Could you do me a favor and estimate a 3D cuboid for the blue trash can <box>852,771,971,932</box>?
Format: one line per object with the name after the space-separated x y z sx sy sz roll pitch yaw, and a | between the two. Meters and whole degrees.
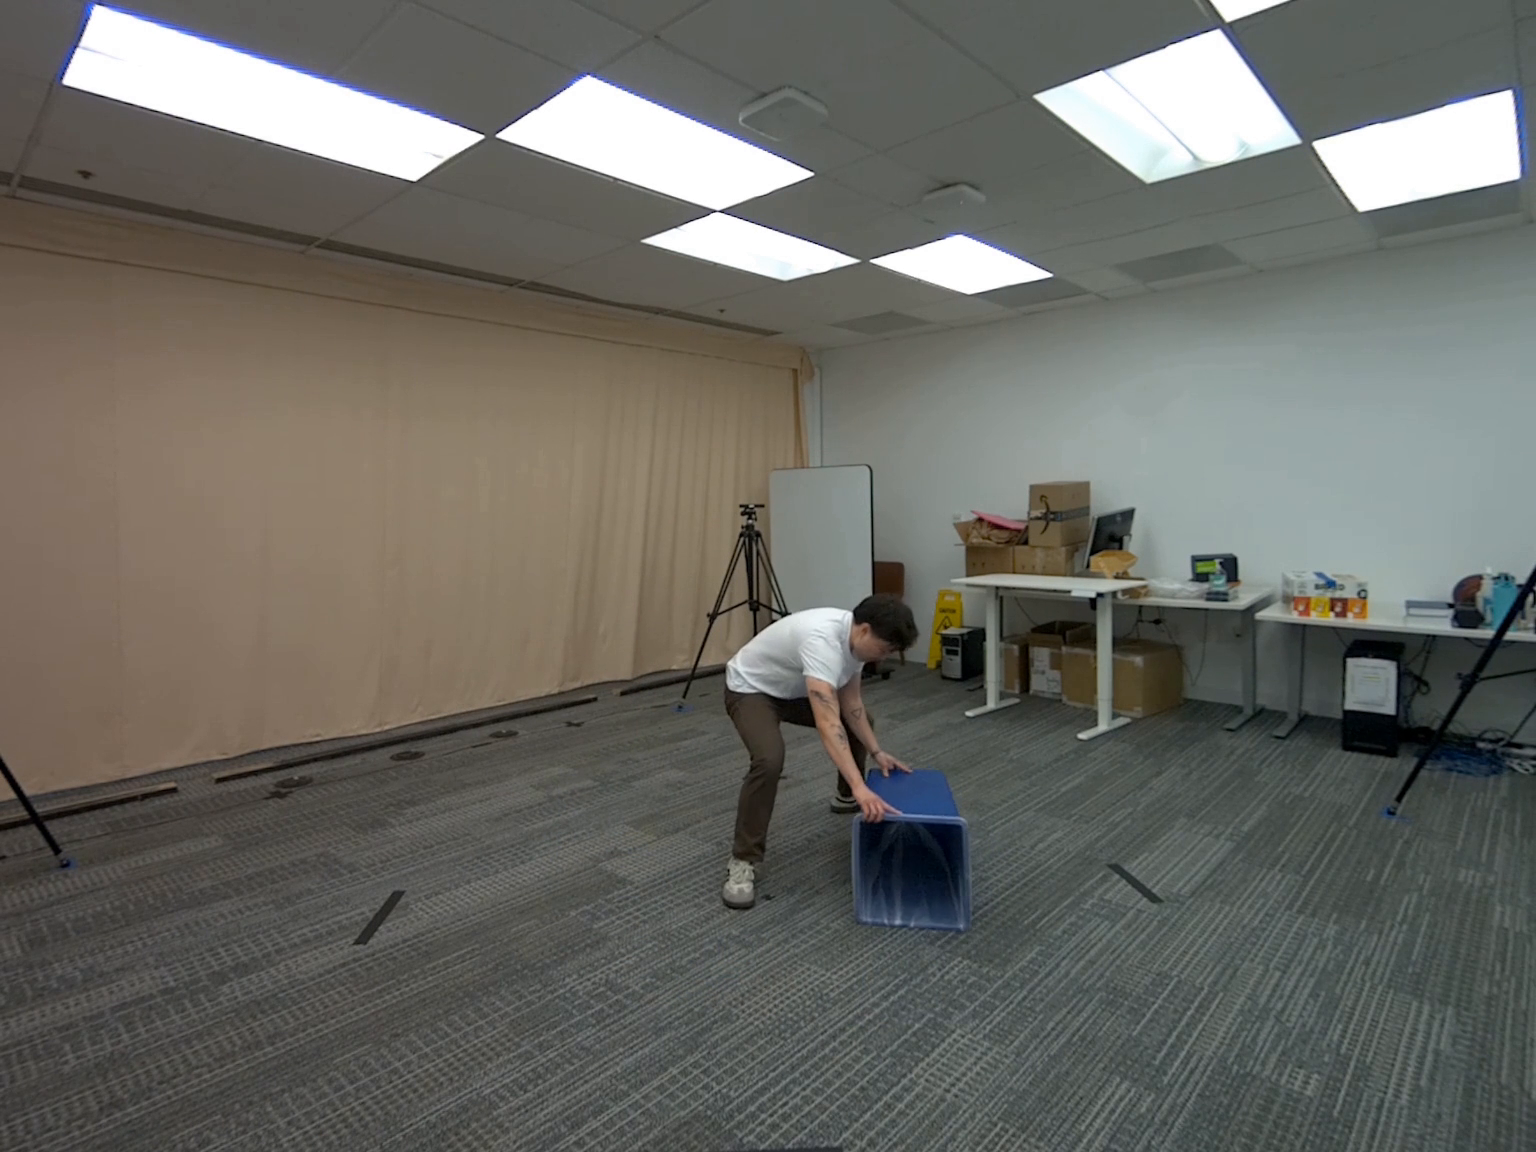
0.524 0.951 3.088 0.378 0.378 0.706 -2 2 10 | blue trash can
